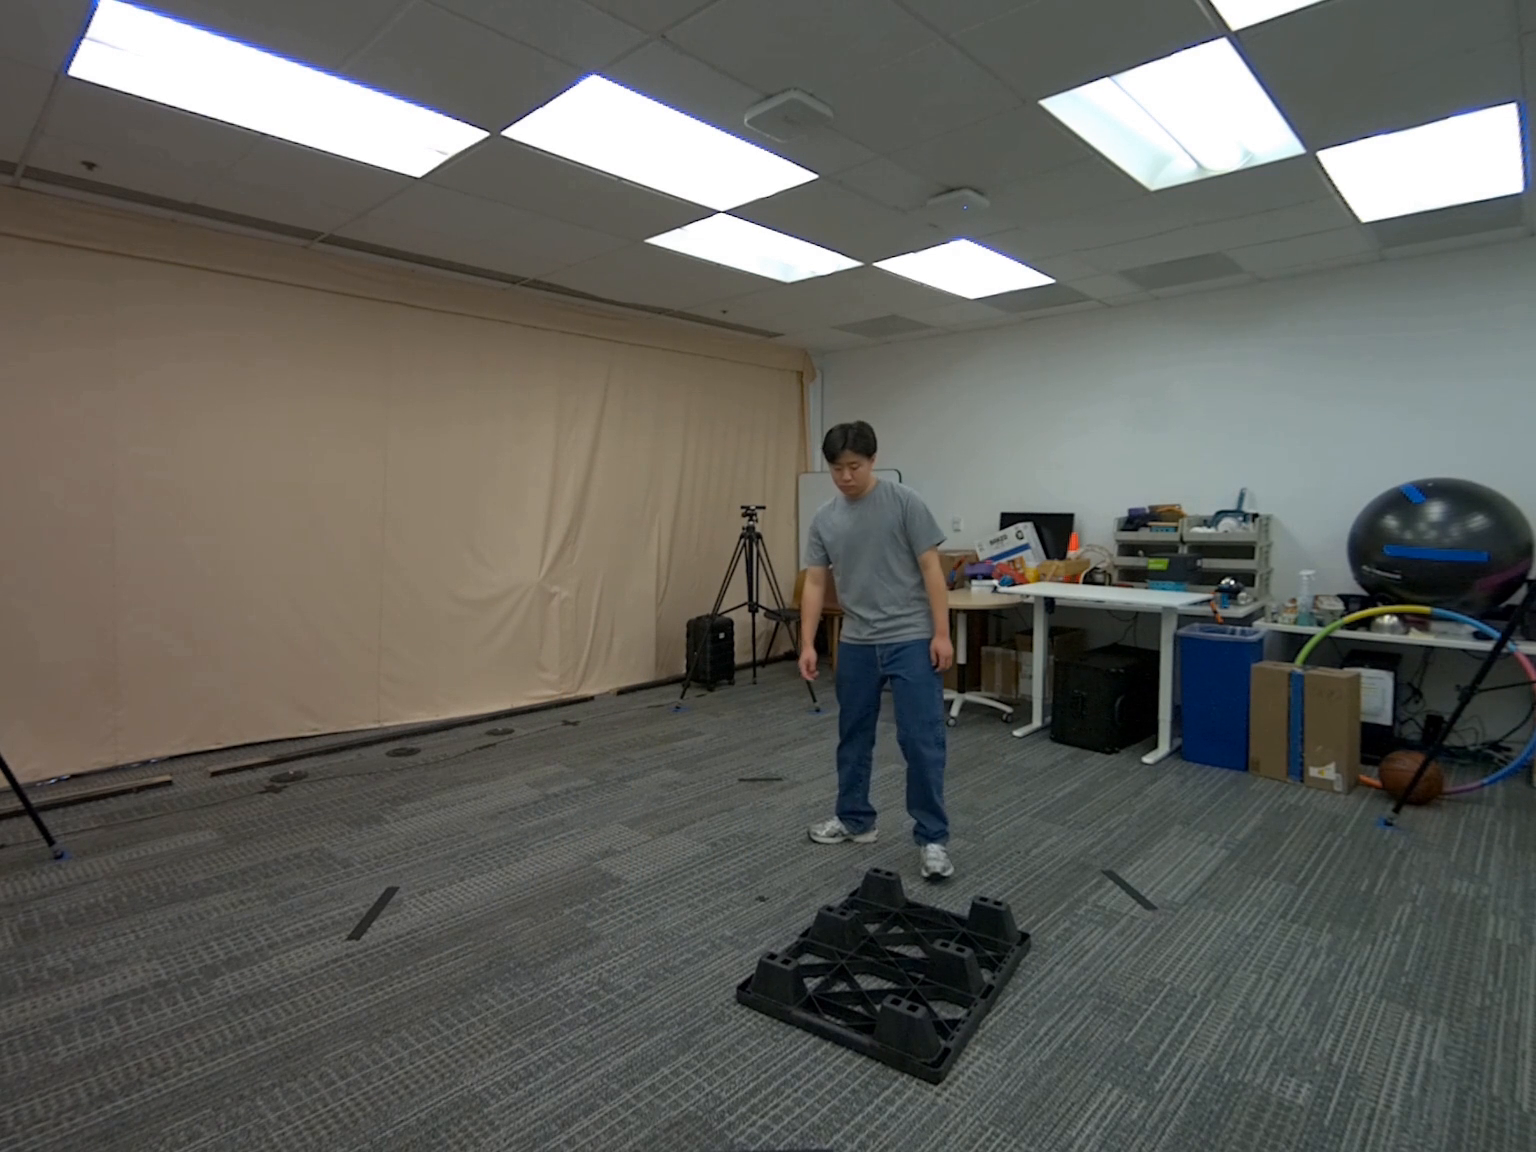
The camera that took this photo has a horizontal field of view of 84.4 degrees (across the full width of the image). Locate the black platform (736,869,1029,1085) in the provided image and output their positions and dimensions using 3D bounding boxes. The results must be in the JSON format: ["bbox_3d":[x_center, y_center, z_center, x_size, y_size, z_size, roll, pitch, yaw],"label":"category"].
[{"bbox_3d":[0.372,1.118,2.498,0.624,0.143,0.783,3,6,33],"label":"black platform"}]
